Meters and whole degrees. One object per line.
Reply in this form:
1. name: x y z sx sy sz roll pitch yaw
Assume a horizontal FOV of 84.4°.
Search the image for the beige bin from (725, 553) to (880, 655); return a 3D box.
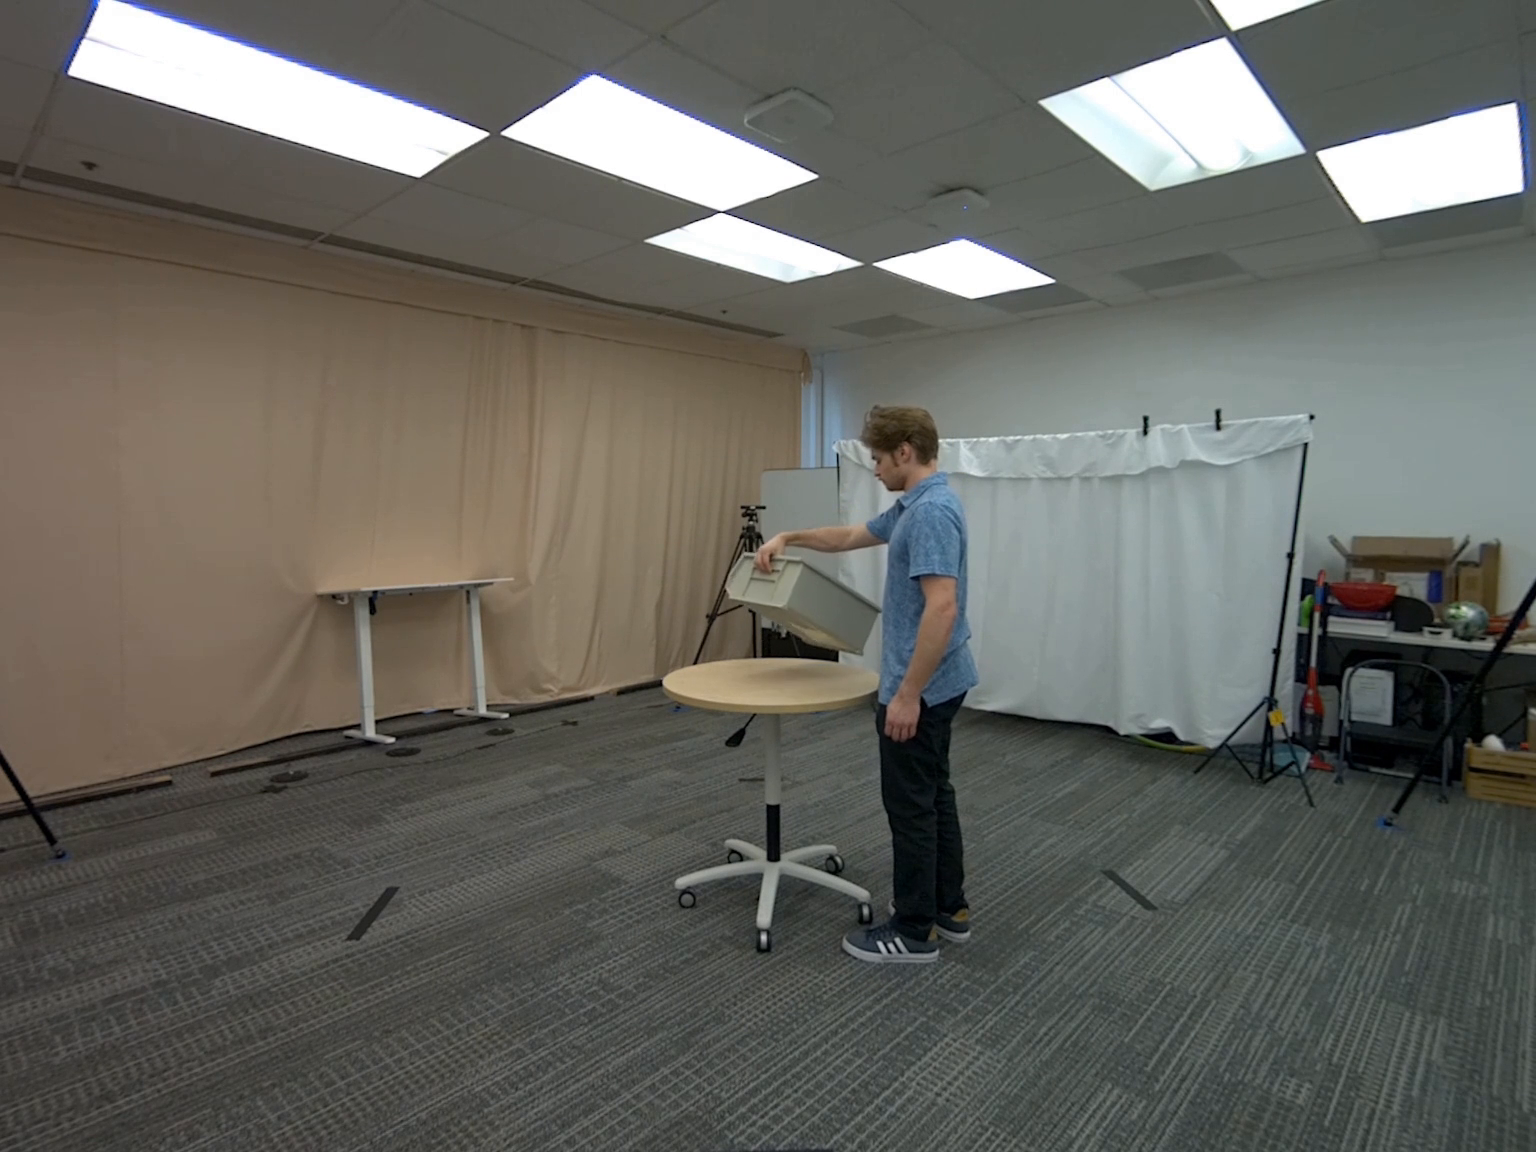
1. beige bin: 0.122 0.101 2.984 0.408 0.189 0.389 32 -13 -32
